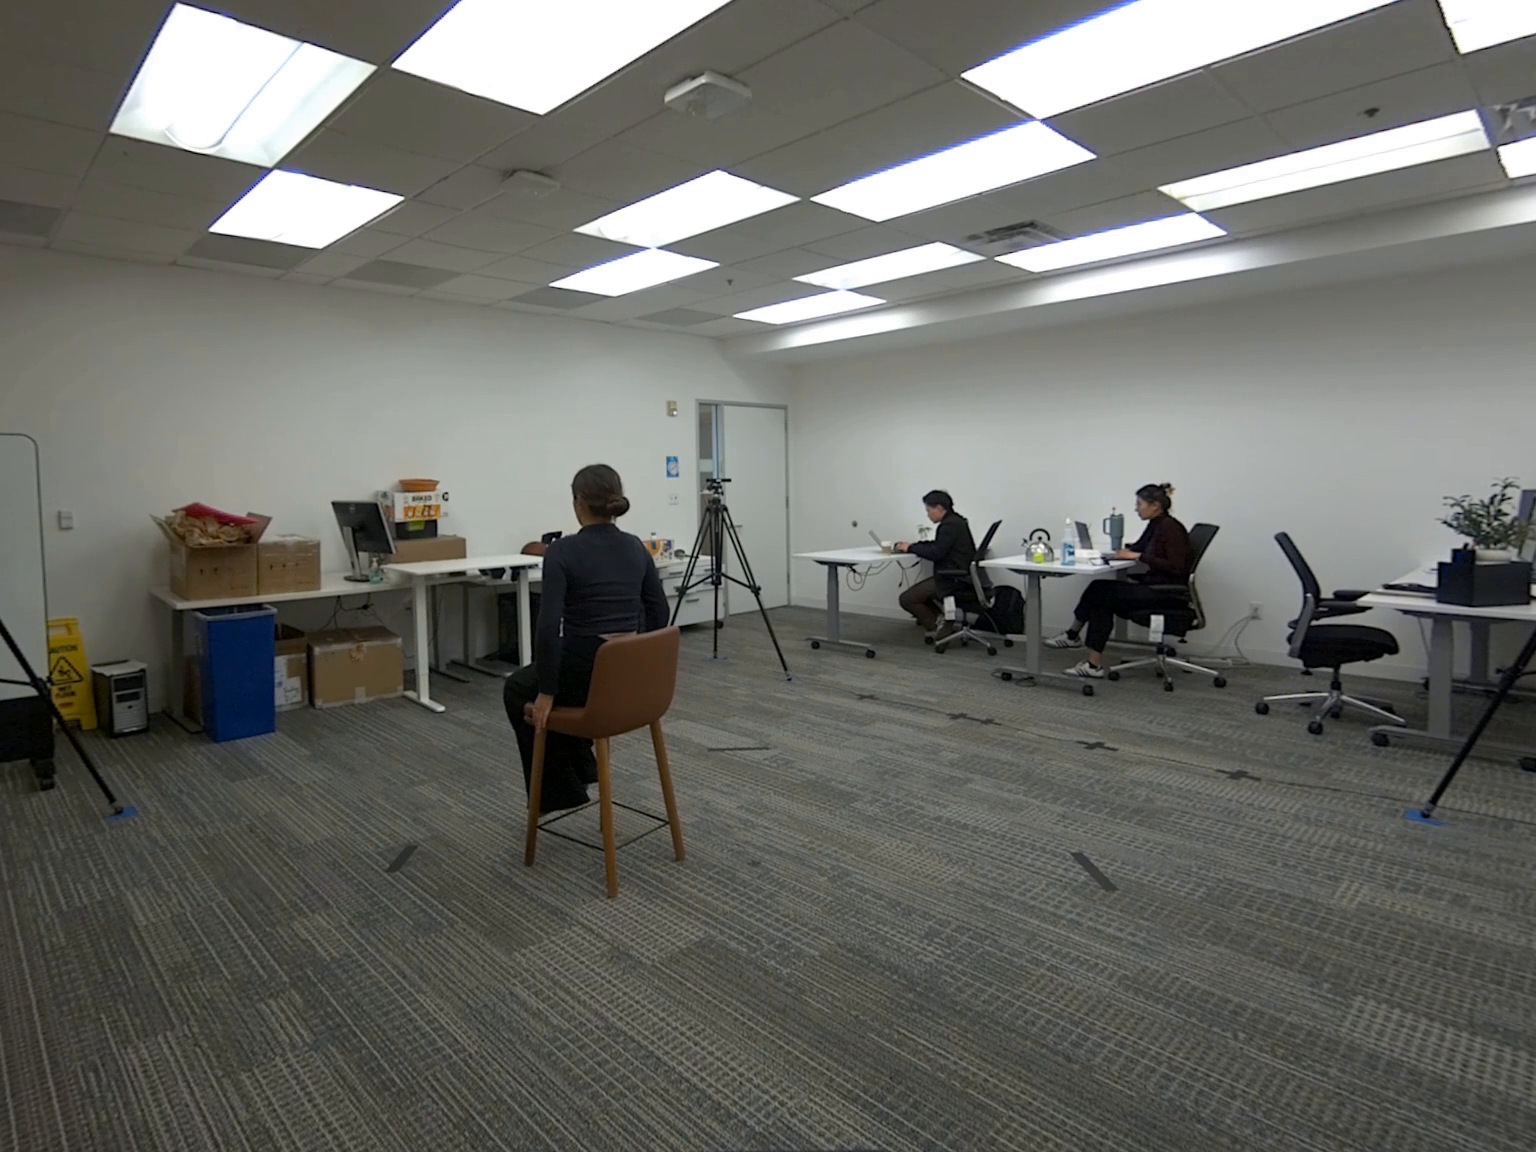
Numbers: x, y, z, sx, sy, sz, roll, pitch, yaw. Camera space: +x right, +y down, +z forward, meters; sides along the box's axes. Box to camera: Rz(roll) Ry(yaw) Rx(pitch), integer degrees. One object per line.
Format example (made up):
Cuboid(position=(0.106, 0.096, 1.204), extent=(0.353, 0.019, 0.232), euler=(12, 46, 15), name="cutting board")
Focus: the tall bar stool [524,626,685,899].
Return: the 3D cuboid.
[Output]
Cuboid(position=(-0.594, 0.619, 3.111), extent=(0.482, 0.885, 0.445), euler=(4, 7, 37), name="tall bar stool")
